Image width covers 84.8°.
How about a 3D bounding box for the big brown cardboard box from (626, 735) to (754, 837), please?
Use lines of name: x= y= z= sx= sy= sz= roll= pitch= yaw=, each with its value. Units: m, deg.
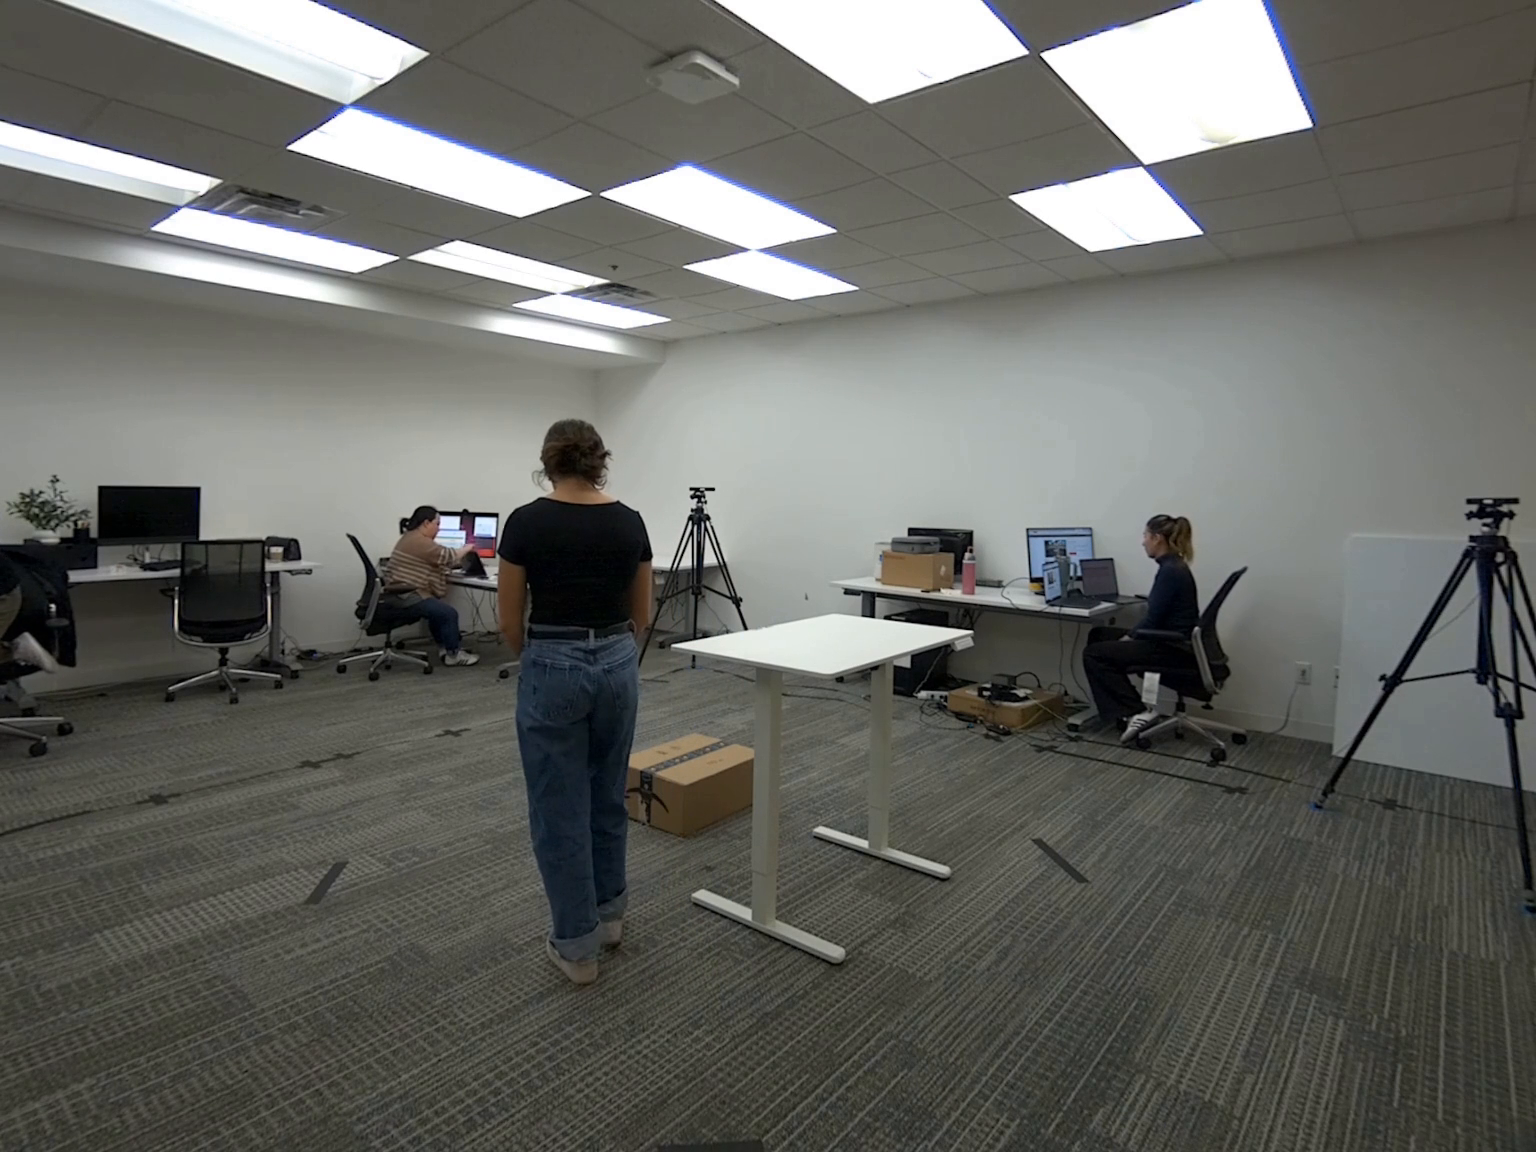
big brown cardboard box: x=-0.351 y=0.892 z=3.720 sx=0.432 sy=0.232 sz=0.572 roll=6 pitch=7 yaw=37
